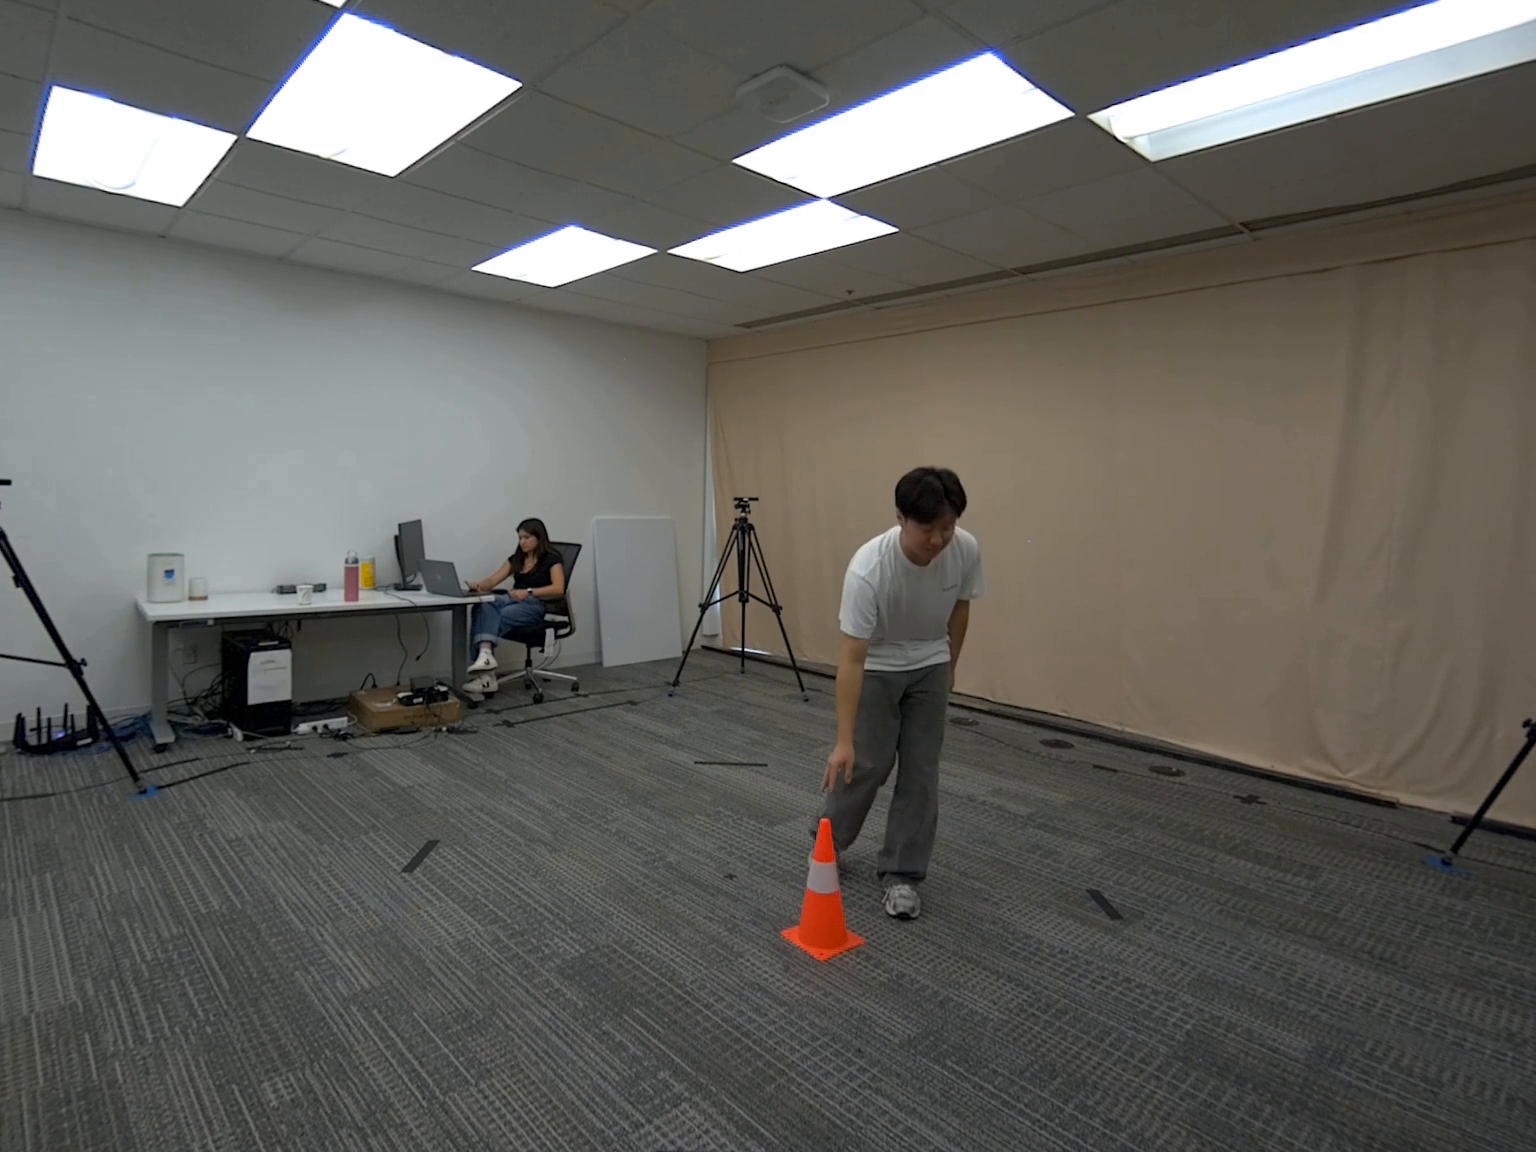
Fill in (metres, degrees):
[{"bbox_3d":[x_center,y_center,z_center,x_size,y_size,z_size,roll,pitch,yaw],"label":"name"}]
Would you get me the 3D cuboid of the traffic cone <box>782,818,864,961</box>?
[{"bbox_3d":[0.172,0.973,2.668,0.199,0.383,0.210,-2,4,-39],"label":"traffic cone"}]
